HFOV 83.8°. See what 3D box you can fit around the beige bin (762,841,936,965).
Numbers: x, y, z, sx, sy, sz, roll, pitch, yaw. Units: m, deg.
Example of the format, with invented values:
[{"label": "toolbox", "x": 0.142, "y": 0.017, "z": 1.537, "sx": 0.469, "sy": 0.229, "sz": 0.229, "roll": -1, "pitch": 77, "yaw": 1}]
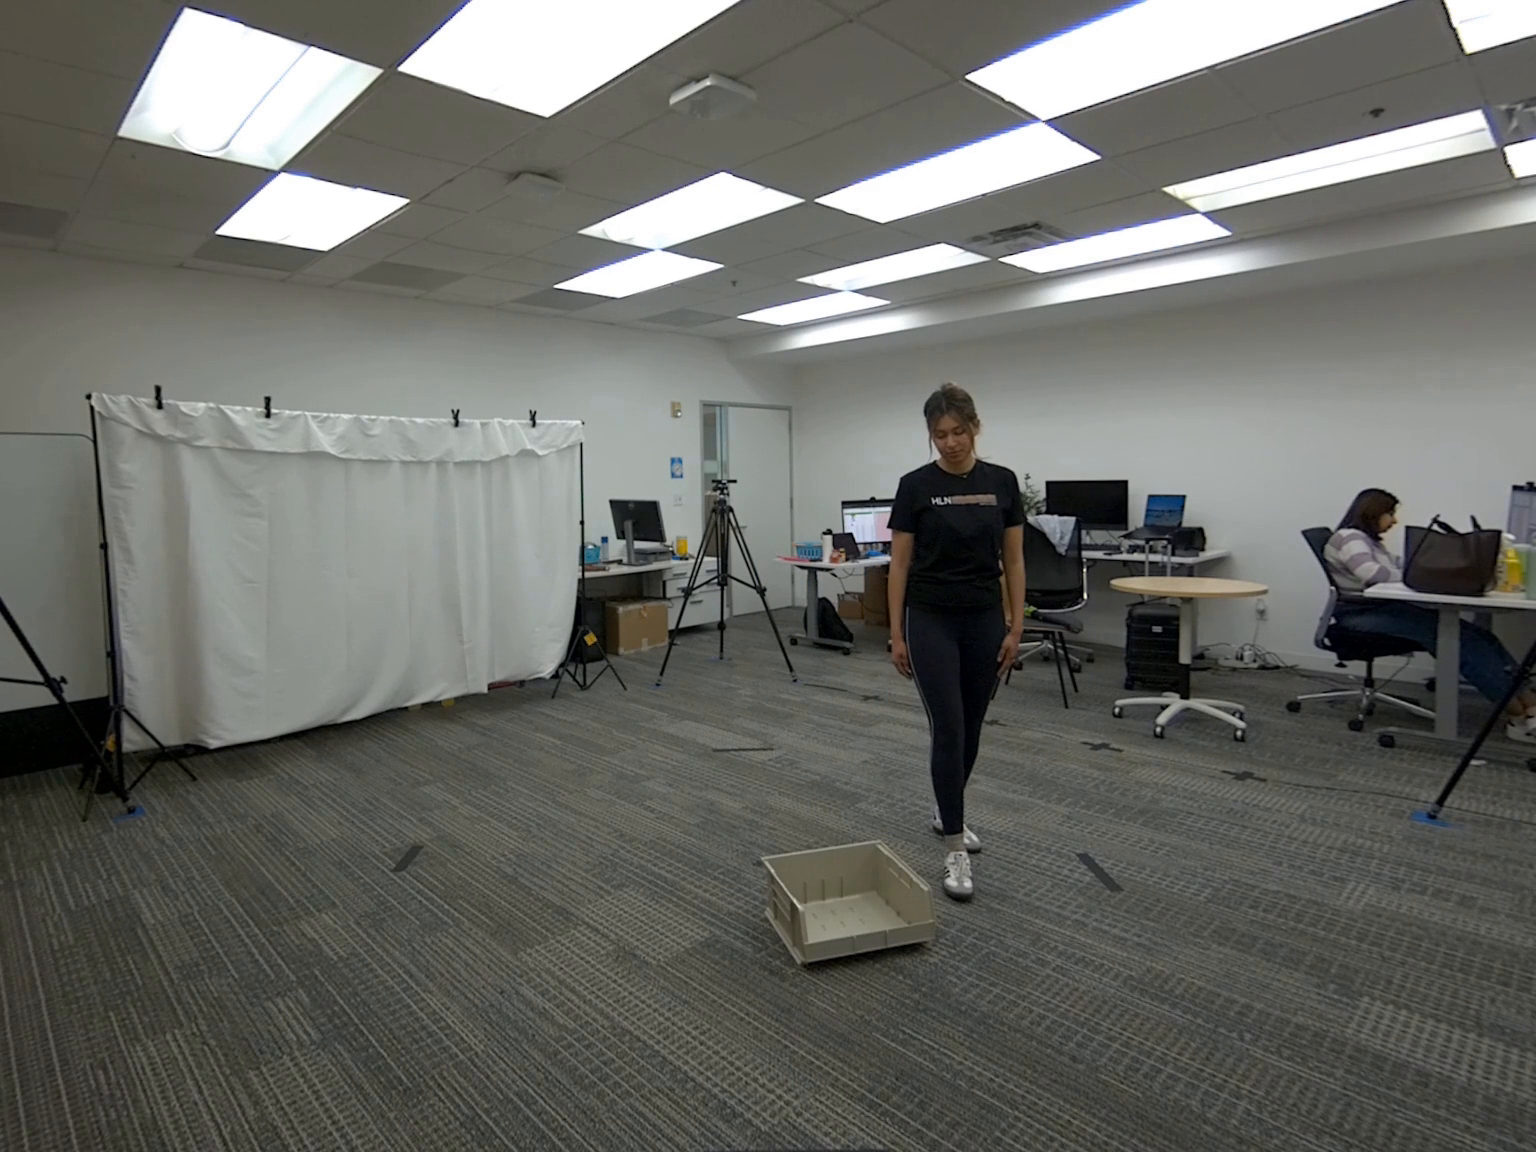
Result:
[{"label": "beige bin", "x": 0.244, "y": 1.008, "z": 2.631, "sx": 0.416, "sy": 0.188, "sz": 0.384, "roll": -3, "pitch": 5, "yaw": -17}]
